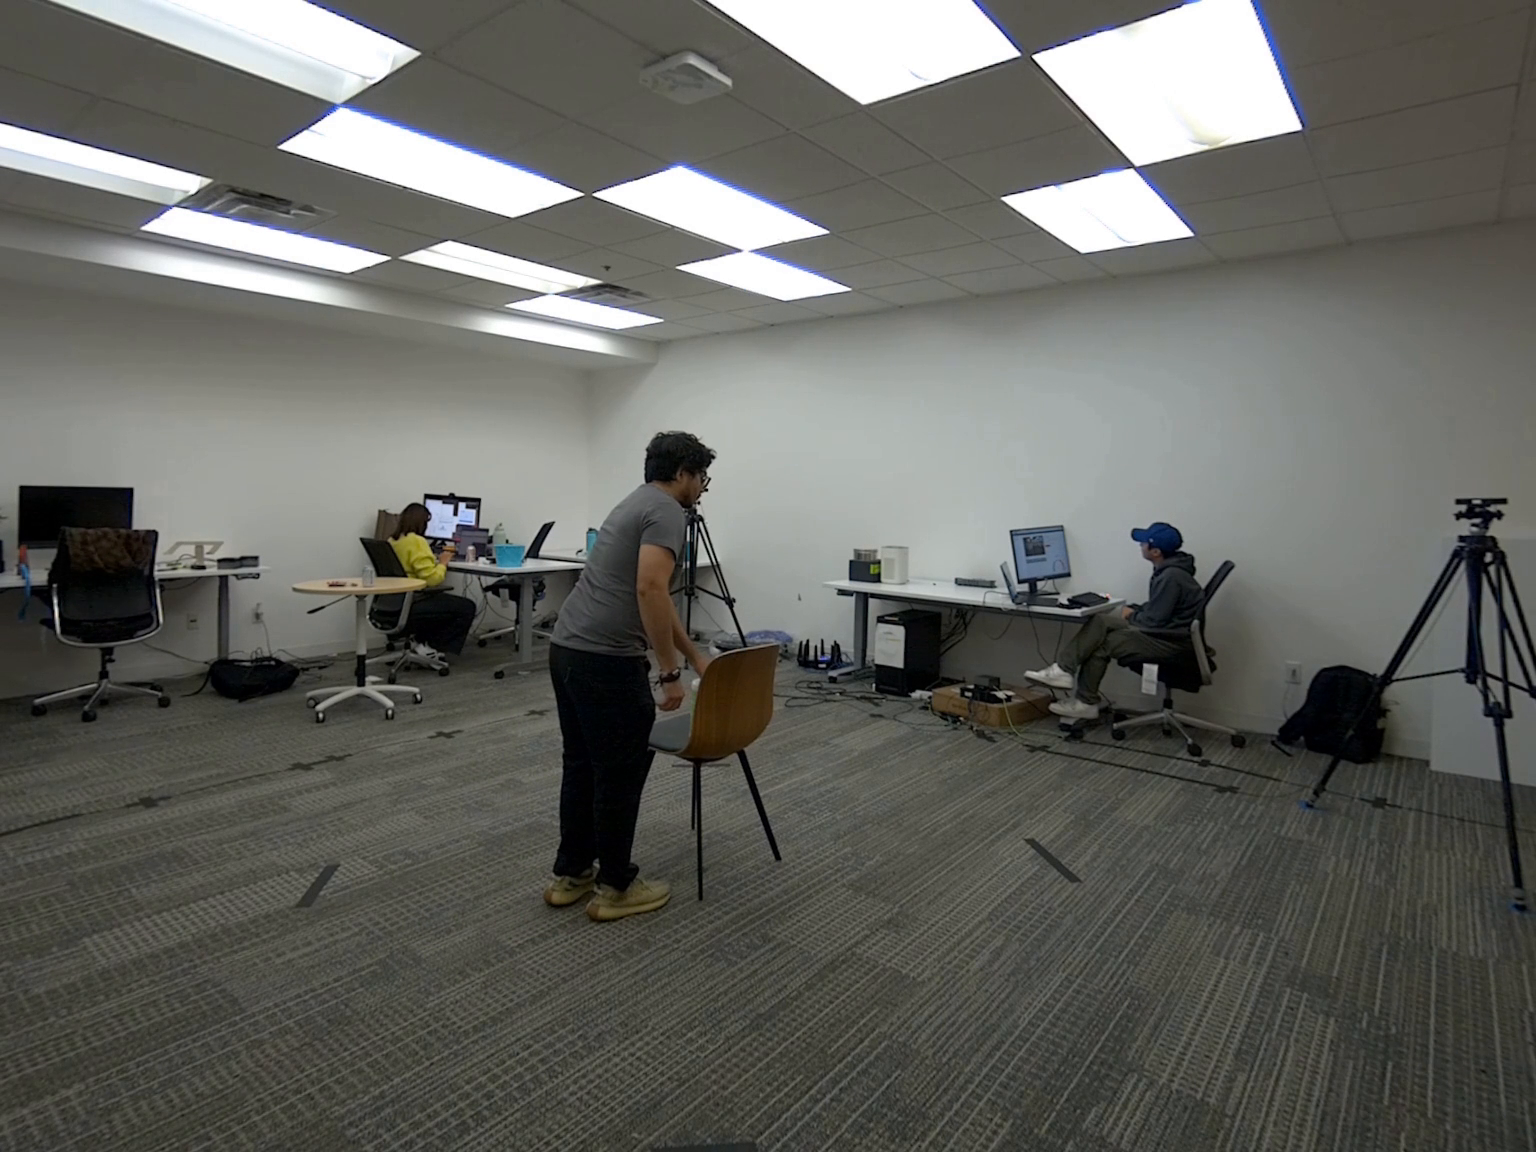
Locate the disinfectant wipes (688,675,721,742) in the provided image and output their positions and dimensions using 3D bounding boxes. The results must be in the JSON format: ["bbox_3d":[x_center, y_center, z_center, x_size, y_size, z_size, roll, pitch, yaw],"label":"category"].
[{"bbox_3d":[-0.237,0.488,3.125,0.118,0.216,0.118,0,6,-2],"label":"disinfectant wipes"}]
